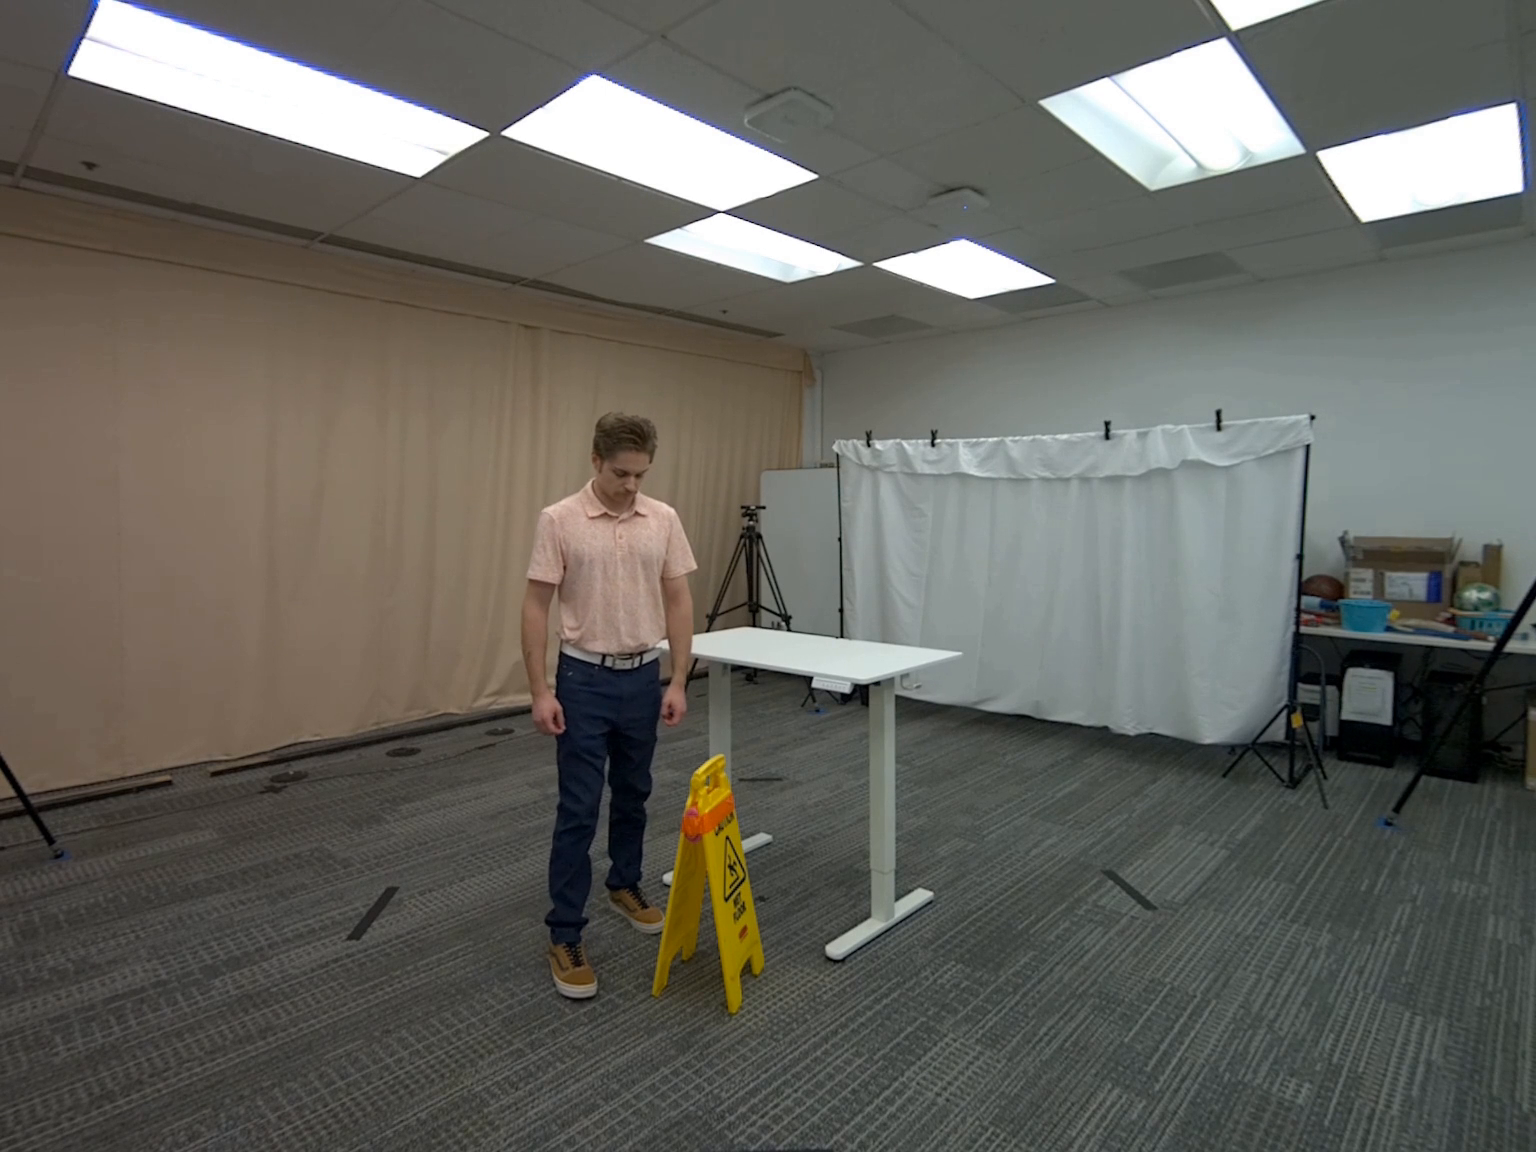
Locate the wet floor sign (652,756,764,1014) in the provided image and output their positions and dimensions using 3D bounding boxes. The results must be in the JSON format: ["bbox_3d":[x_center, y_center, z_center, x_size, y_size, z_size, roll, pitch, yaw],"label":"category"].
[{"bbox_3d":[-0.170,0.866,2.453,0.295,0.645,0.277,1,2,17],"label":"wet floor sign"}]
